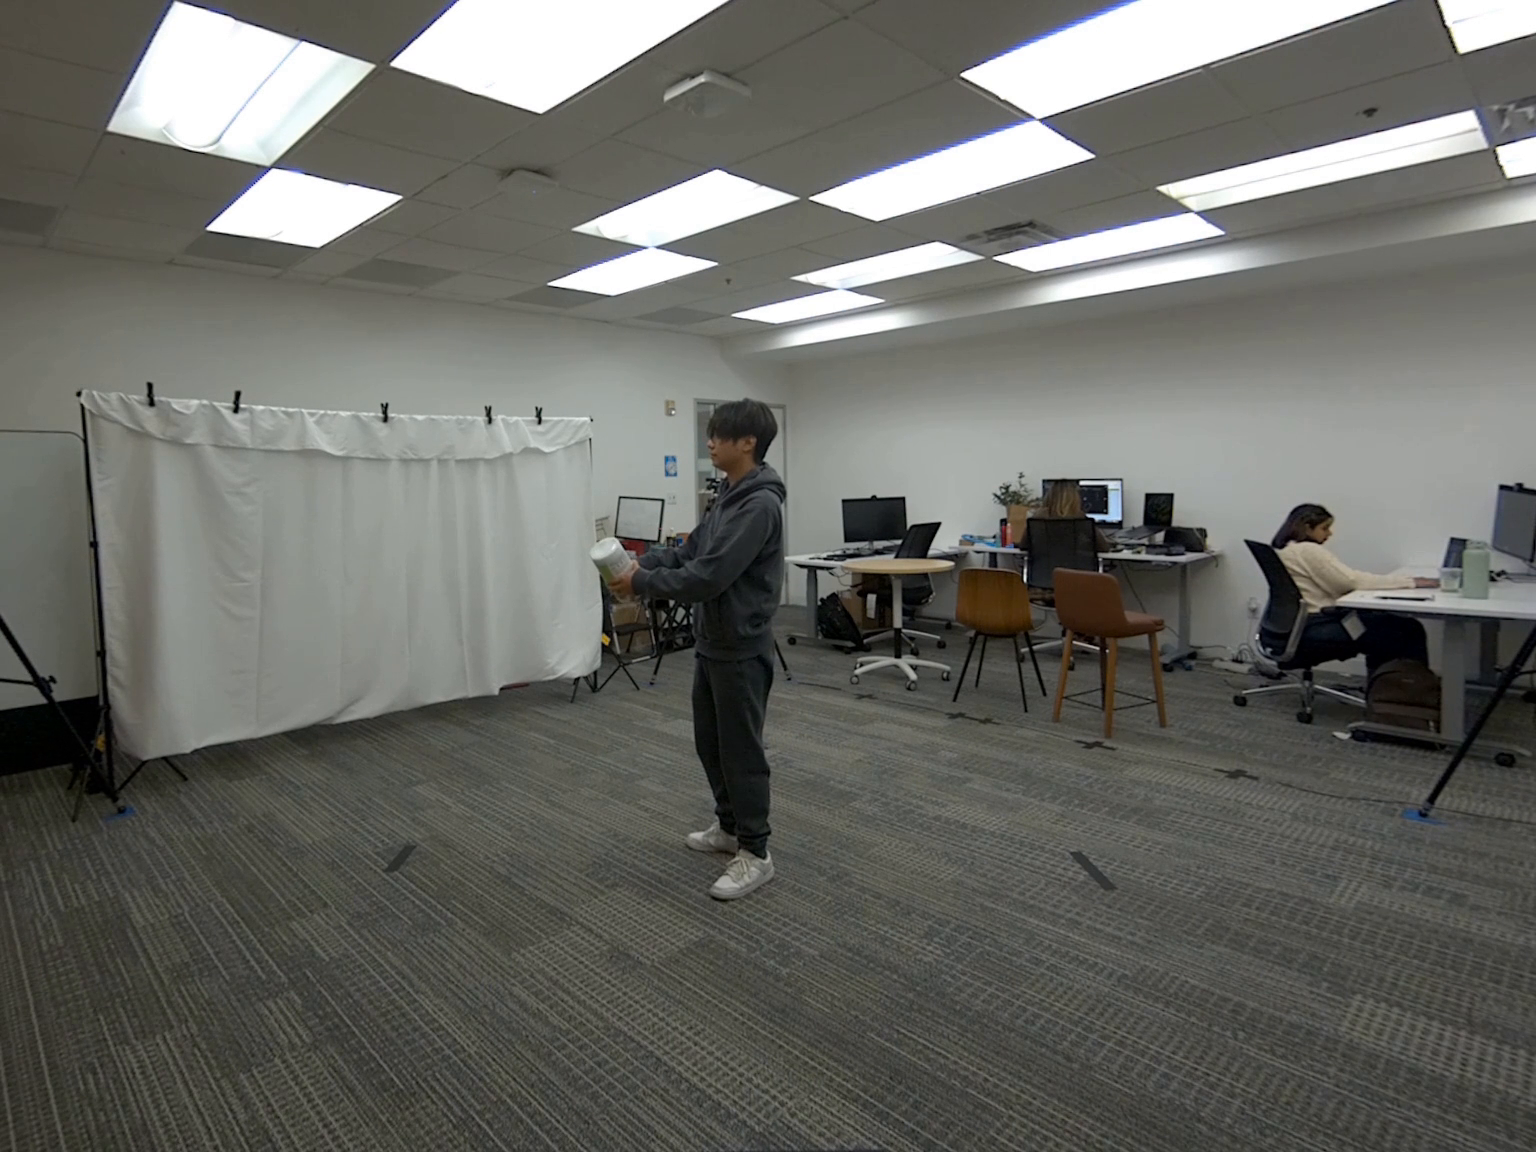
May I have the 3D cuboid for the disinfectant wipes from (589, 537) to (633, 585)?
[{"bbox_3d":[-0.496,-0.020,2.883,0.118,0.210,0.121,-20,33,12],"label":"disinfectant wipes"}]
